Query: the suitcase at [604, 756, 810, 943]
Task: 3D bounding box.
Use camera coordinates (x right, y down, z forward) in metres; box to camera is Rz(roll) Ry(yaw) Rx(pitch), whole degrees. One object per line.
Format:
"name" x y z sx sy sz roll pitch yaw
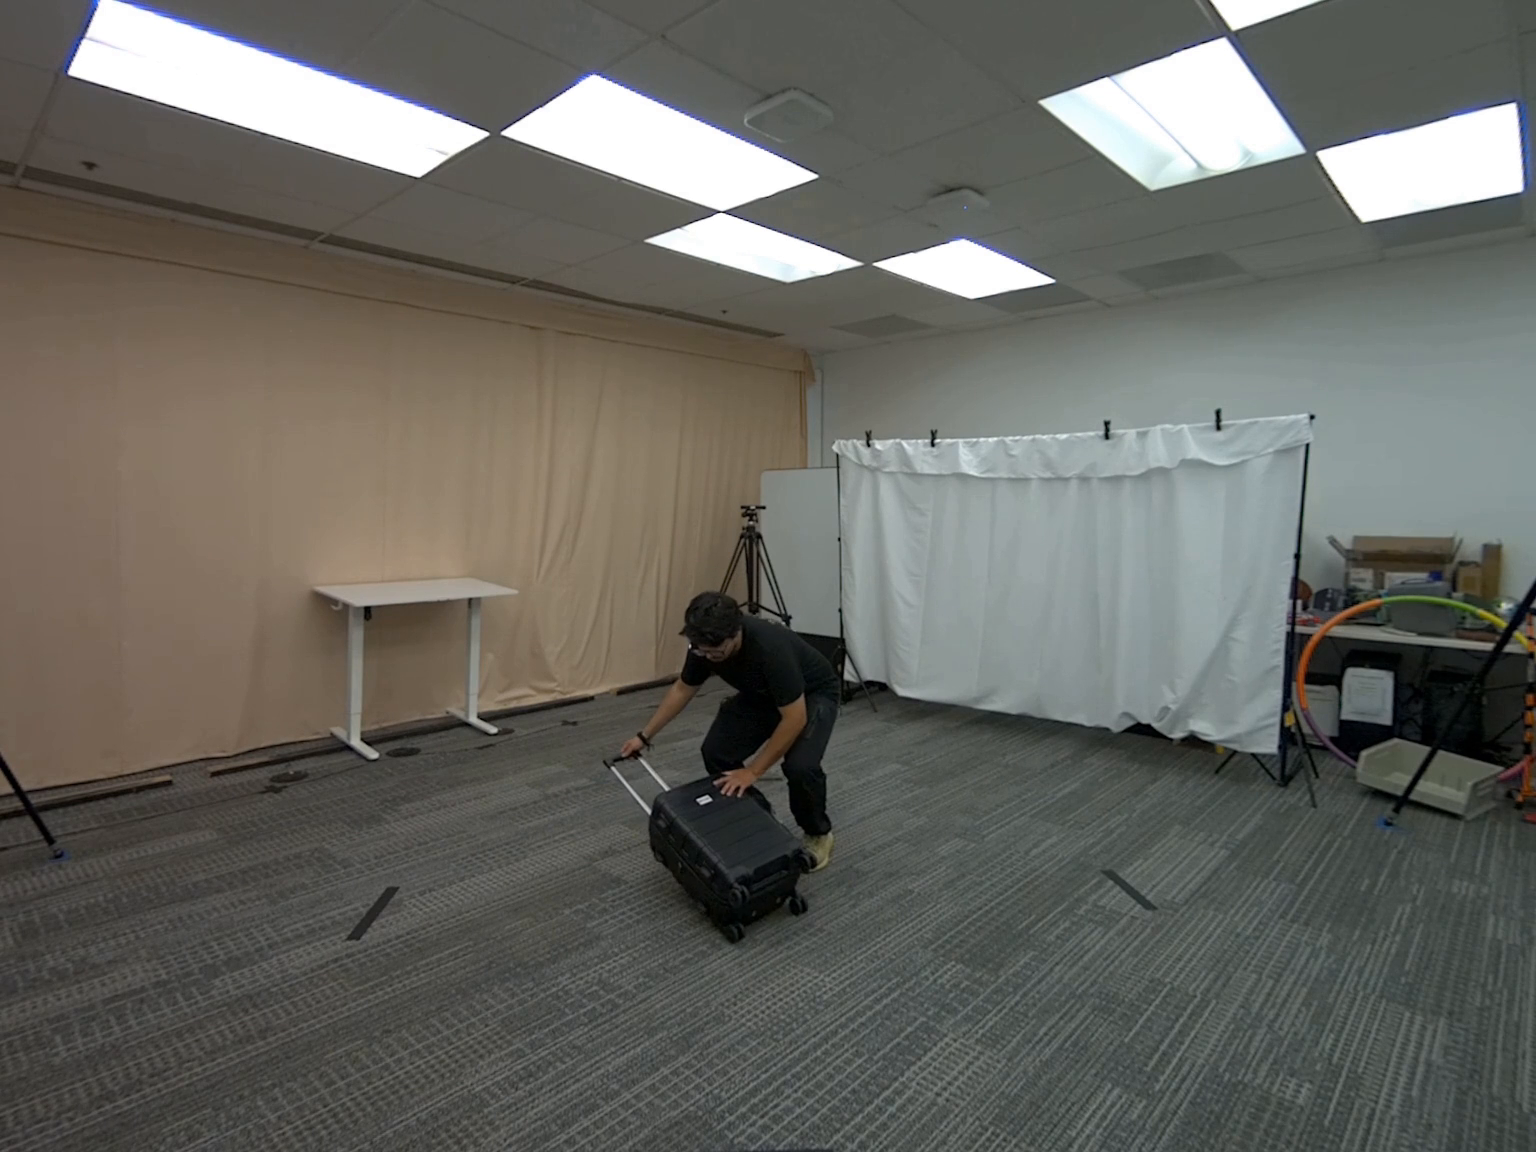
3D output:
"suitcase" -0.274 0.857 3.065 0.374 0.254 1.015 -13 33 -37
